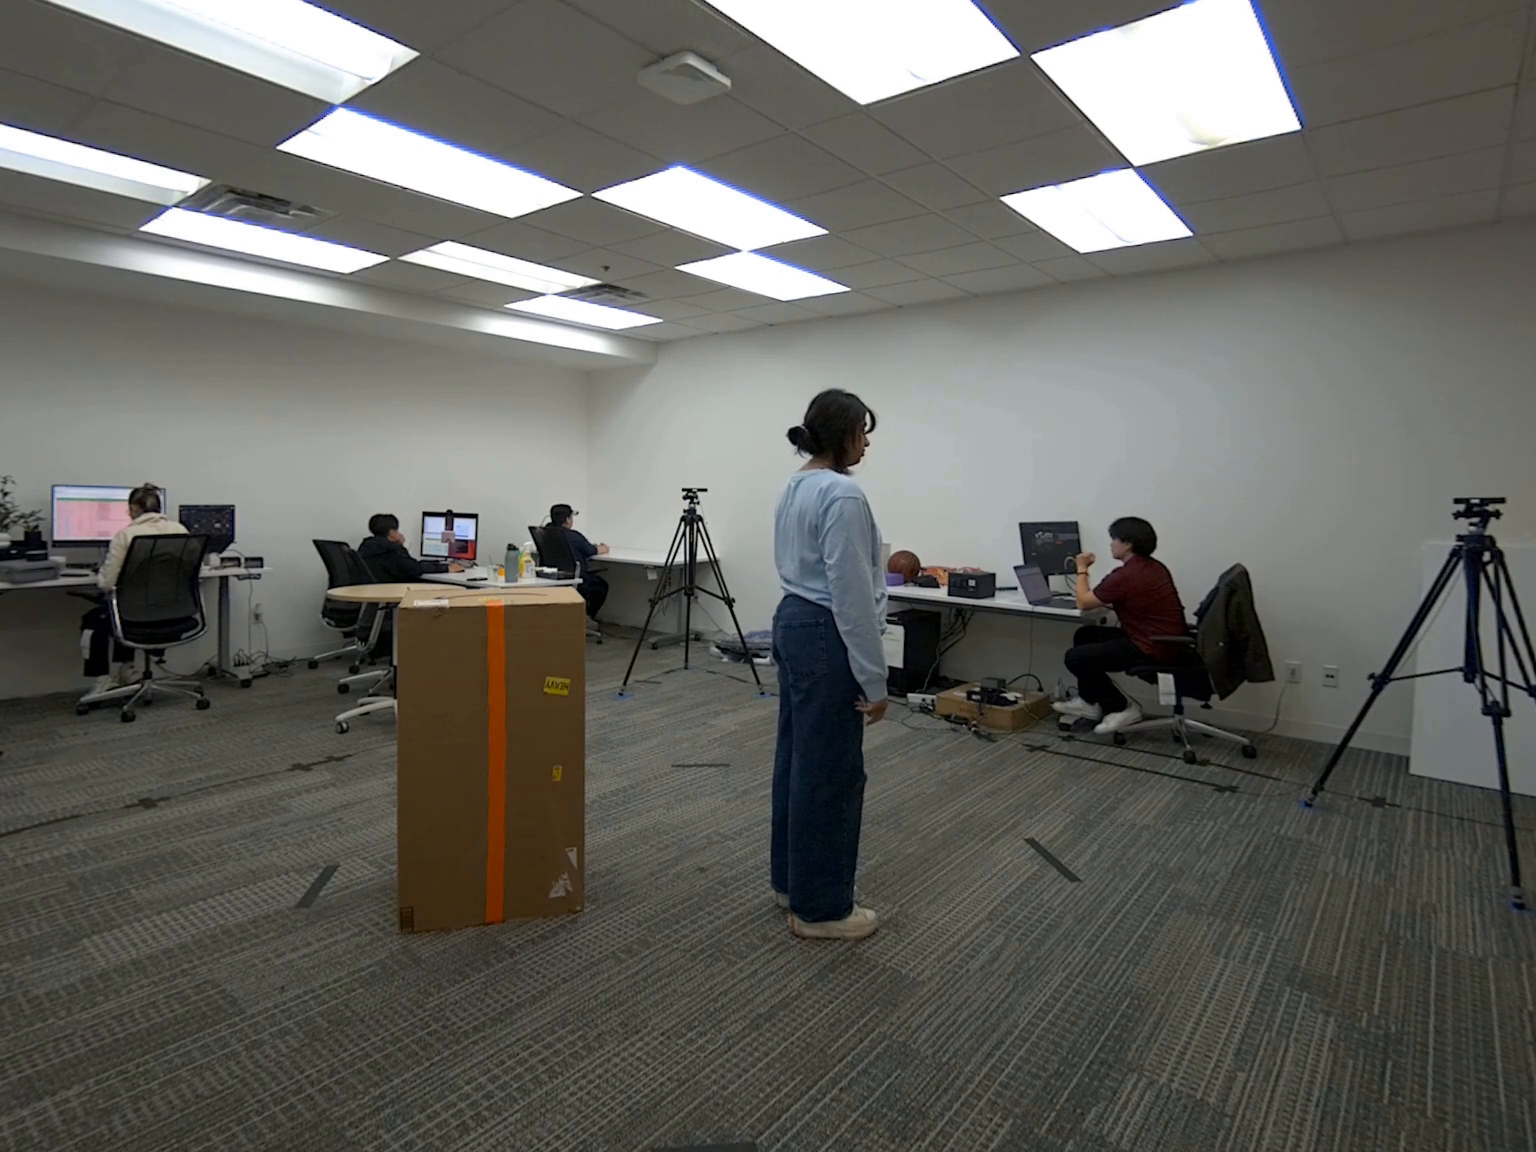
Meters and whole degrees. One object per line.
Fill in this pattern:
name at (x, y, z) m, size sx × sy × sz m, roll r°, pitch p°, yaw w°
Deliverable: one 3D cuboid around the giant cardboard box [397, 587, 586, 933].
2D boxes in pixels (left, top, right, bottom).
giant cardboard box at (-0.943, 0.573, 2.871) m, size 0.574 × 1.023 × 0.456 m, roll 0°, pitch 4°, yaw -16°
